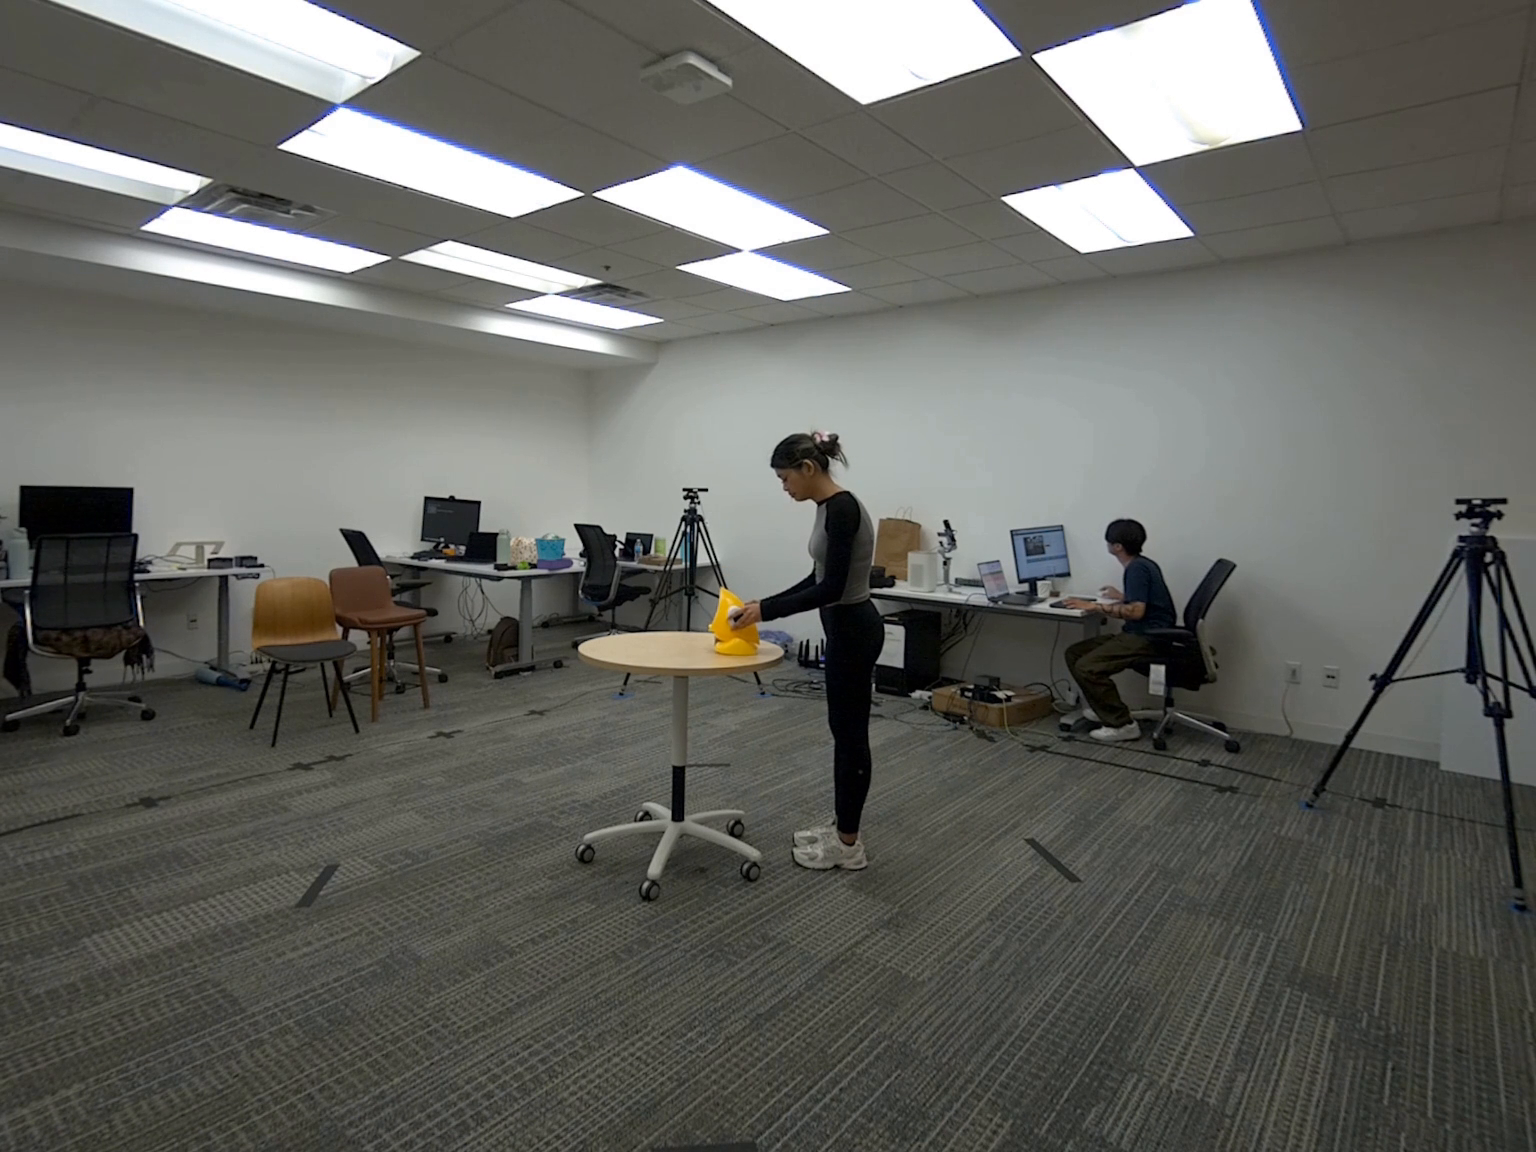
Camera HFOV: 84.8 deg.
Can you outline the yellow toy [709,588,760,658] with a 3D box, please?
[{"bbox_3d":[-0.132,0.156,3.161,0.193,0.230,0.205,2,4,1],"label":"yellow toy"}]
